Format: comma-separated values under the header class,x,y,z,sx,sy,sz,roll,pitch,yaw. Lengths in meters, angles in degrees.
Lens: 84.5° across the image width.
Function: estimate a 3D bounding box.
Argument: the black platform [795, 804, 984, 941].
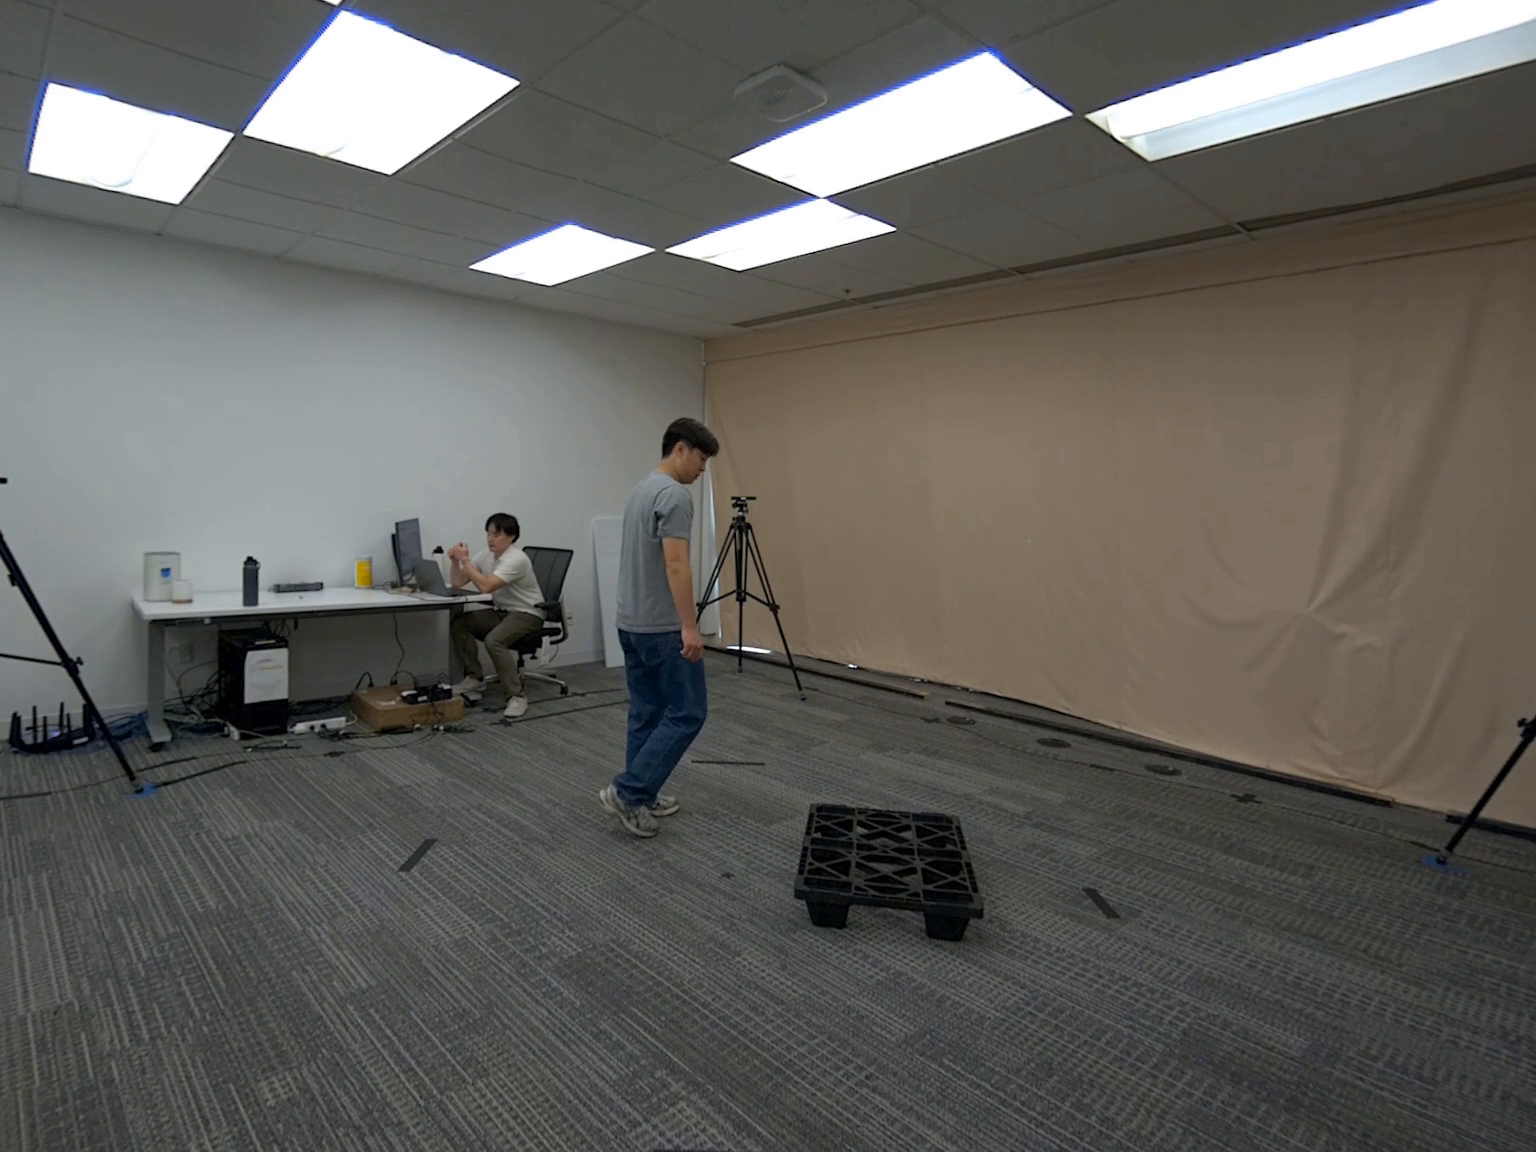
class,x,y,z,sx,sy,sz,roll,pitch,yaw
black platform,0.412,1.053,3.061,0.609,0.143,0.802,2,5,8
